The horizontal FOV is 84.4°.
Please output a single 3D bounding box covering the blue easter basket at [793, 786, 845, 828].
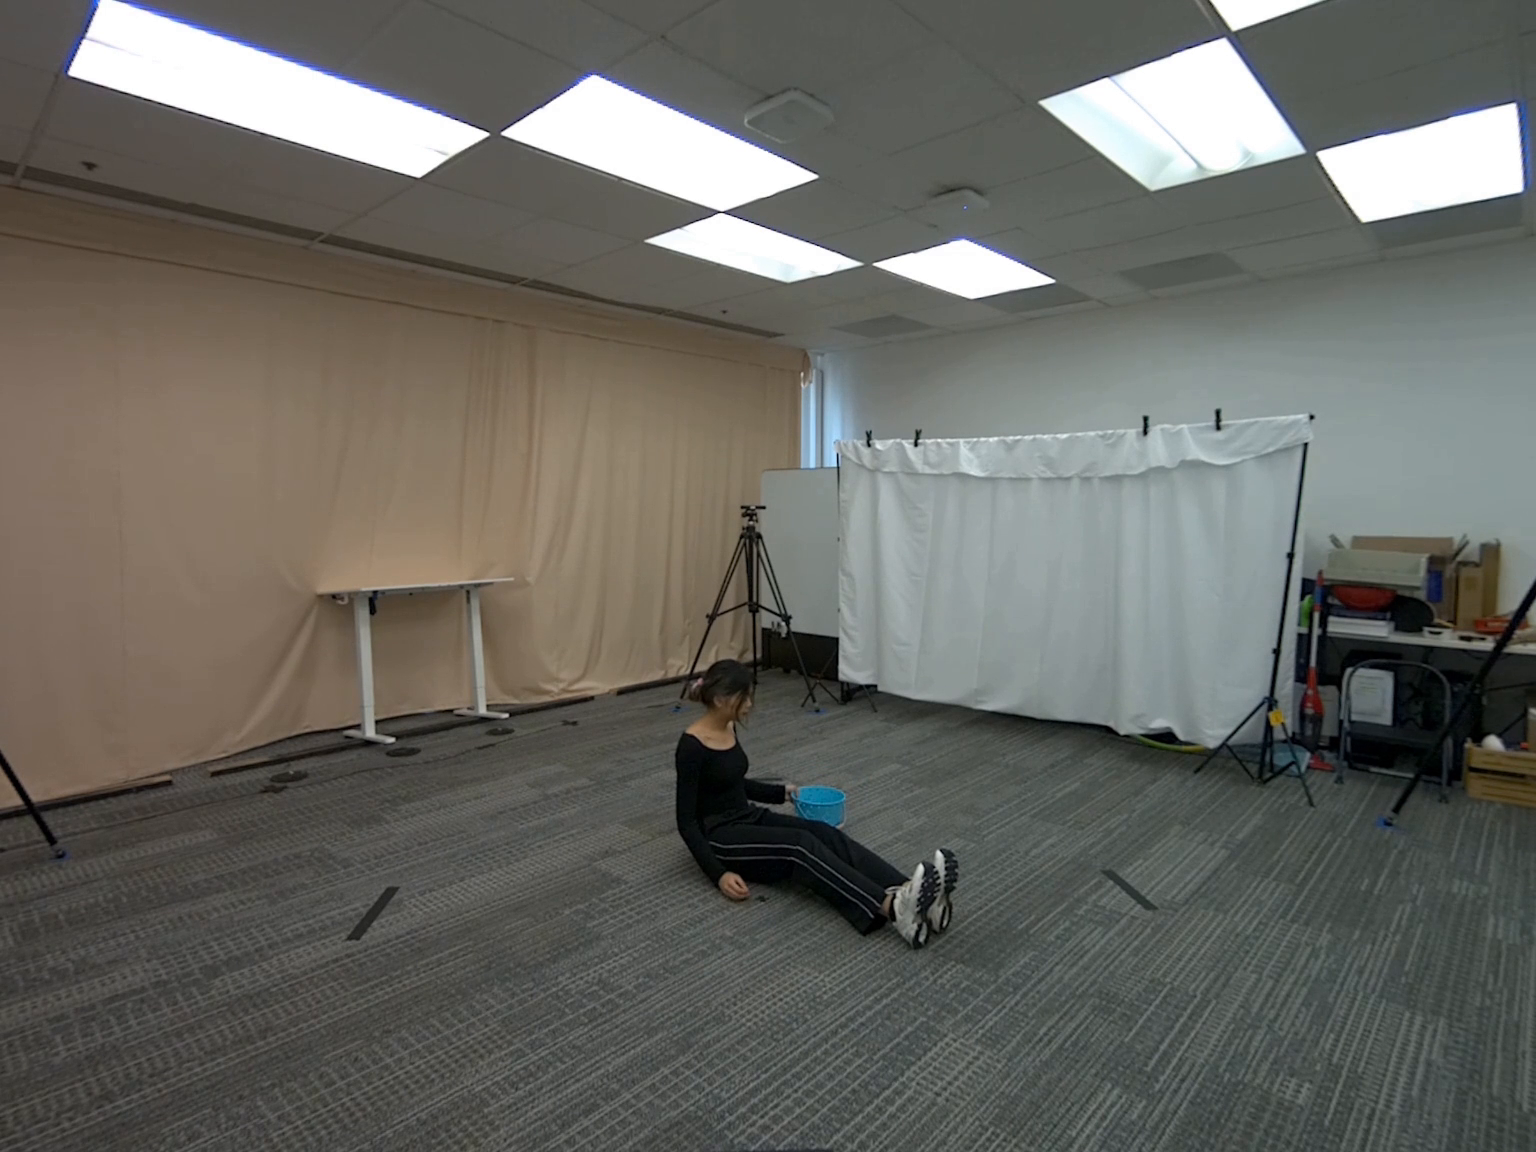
[{"bbox_3d":[0.221,1.011,3.600,0.243,0.155,0.244,0,3,-2],"label":"blue easter basket"}]
